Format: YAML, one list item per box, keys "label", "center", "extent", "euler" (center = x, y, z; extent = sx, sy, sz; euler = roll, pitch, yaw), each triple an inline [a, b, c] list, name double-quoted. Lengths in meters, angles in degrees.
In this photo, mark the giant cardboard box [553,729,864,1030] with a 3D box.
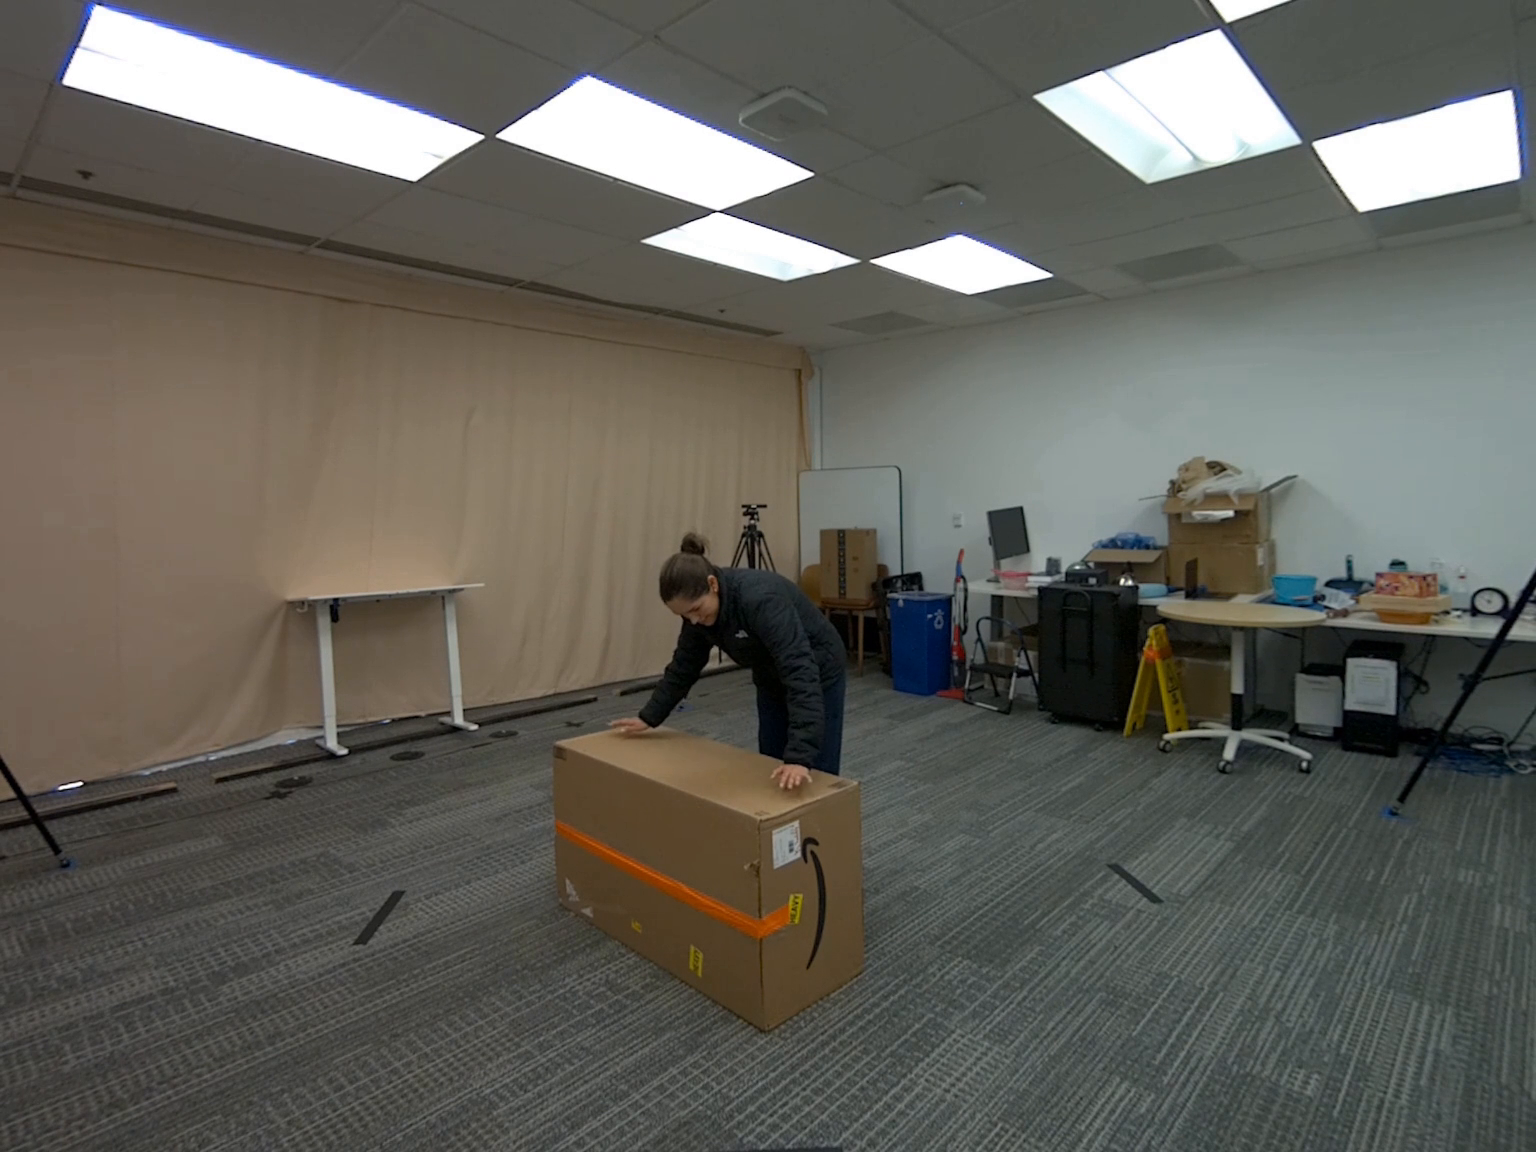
- label: "giant cardboard box"
  center: [-0.222, 0.879, 2.714]
  extent: [0.433, 0.583, 1.061]
  euler: [-3, 4, -43]
